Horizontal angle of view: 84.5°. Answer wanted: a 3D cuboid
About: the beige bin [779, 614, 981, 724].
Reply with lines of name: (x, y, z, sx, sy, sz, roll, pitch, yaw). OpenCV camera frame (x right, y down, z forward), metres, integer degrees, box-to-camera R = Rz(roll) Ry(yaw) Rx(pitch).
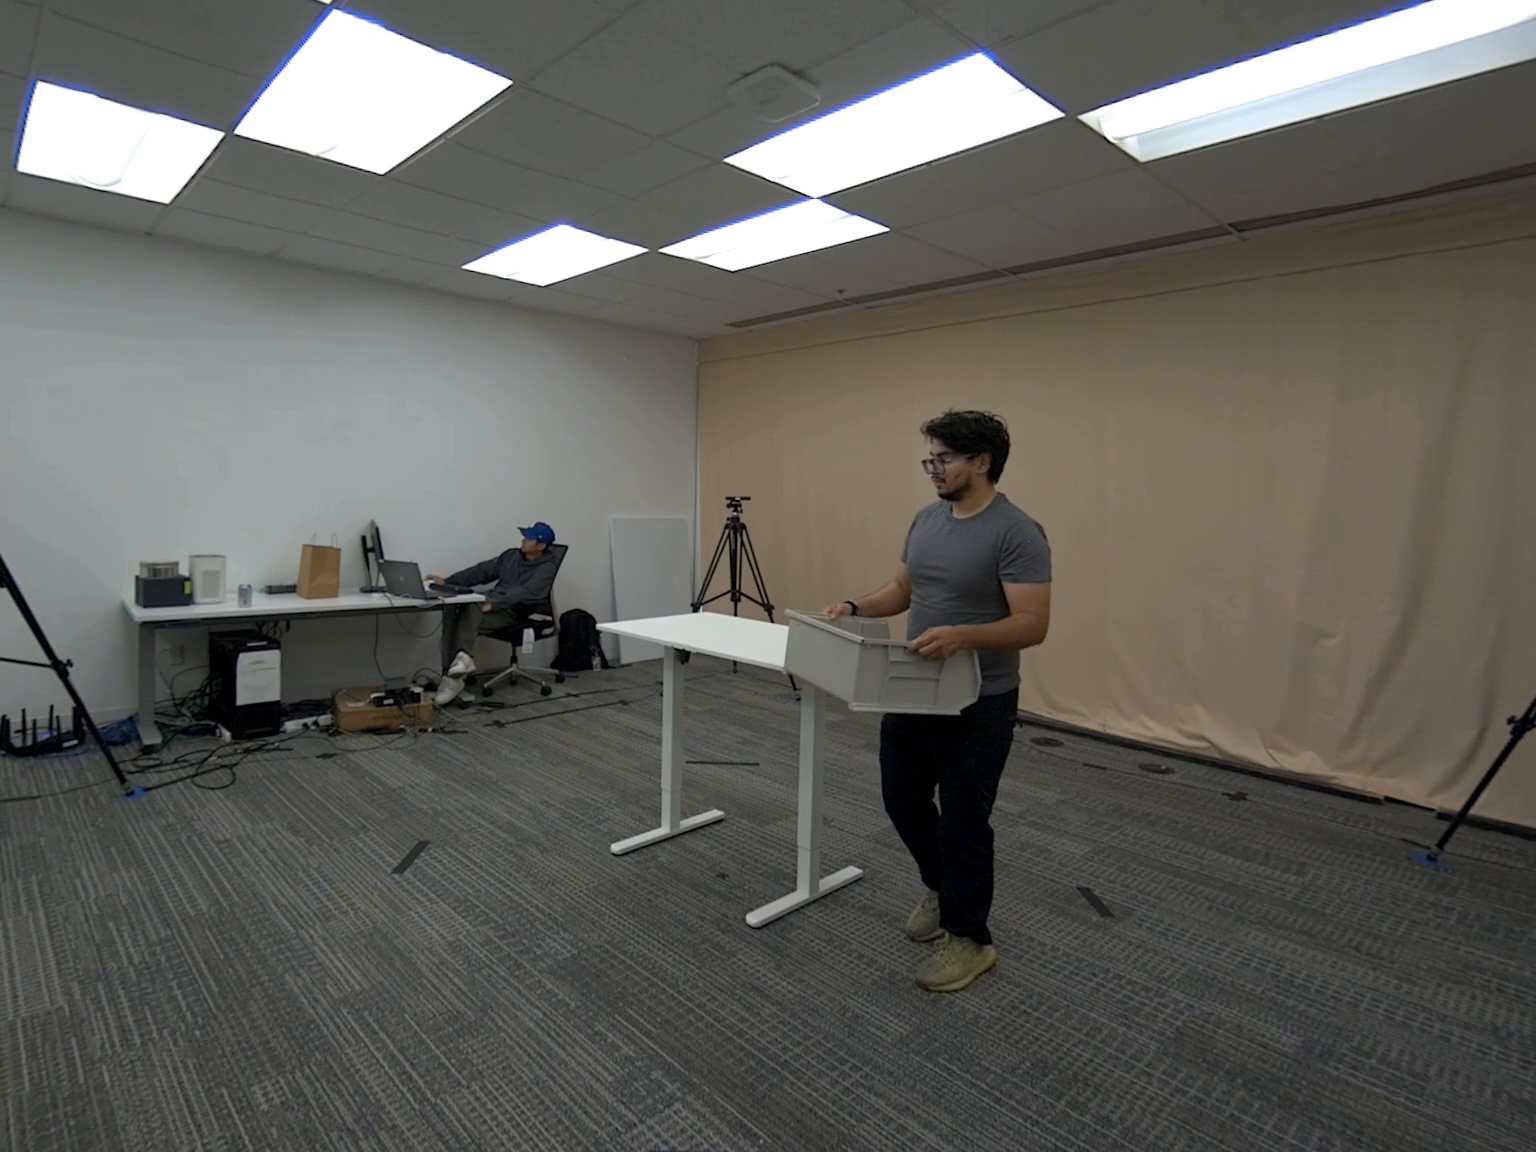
beige bin: (0.303, 0.229, 2.268, 0.370, 0.188, 0.432, 1, 7, -27)
